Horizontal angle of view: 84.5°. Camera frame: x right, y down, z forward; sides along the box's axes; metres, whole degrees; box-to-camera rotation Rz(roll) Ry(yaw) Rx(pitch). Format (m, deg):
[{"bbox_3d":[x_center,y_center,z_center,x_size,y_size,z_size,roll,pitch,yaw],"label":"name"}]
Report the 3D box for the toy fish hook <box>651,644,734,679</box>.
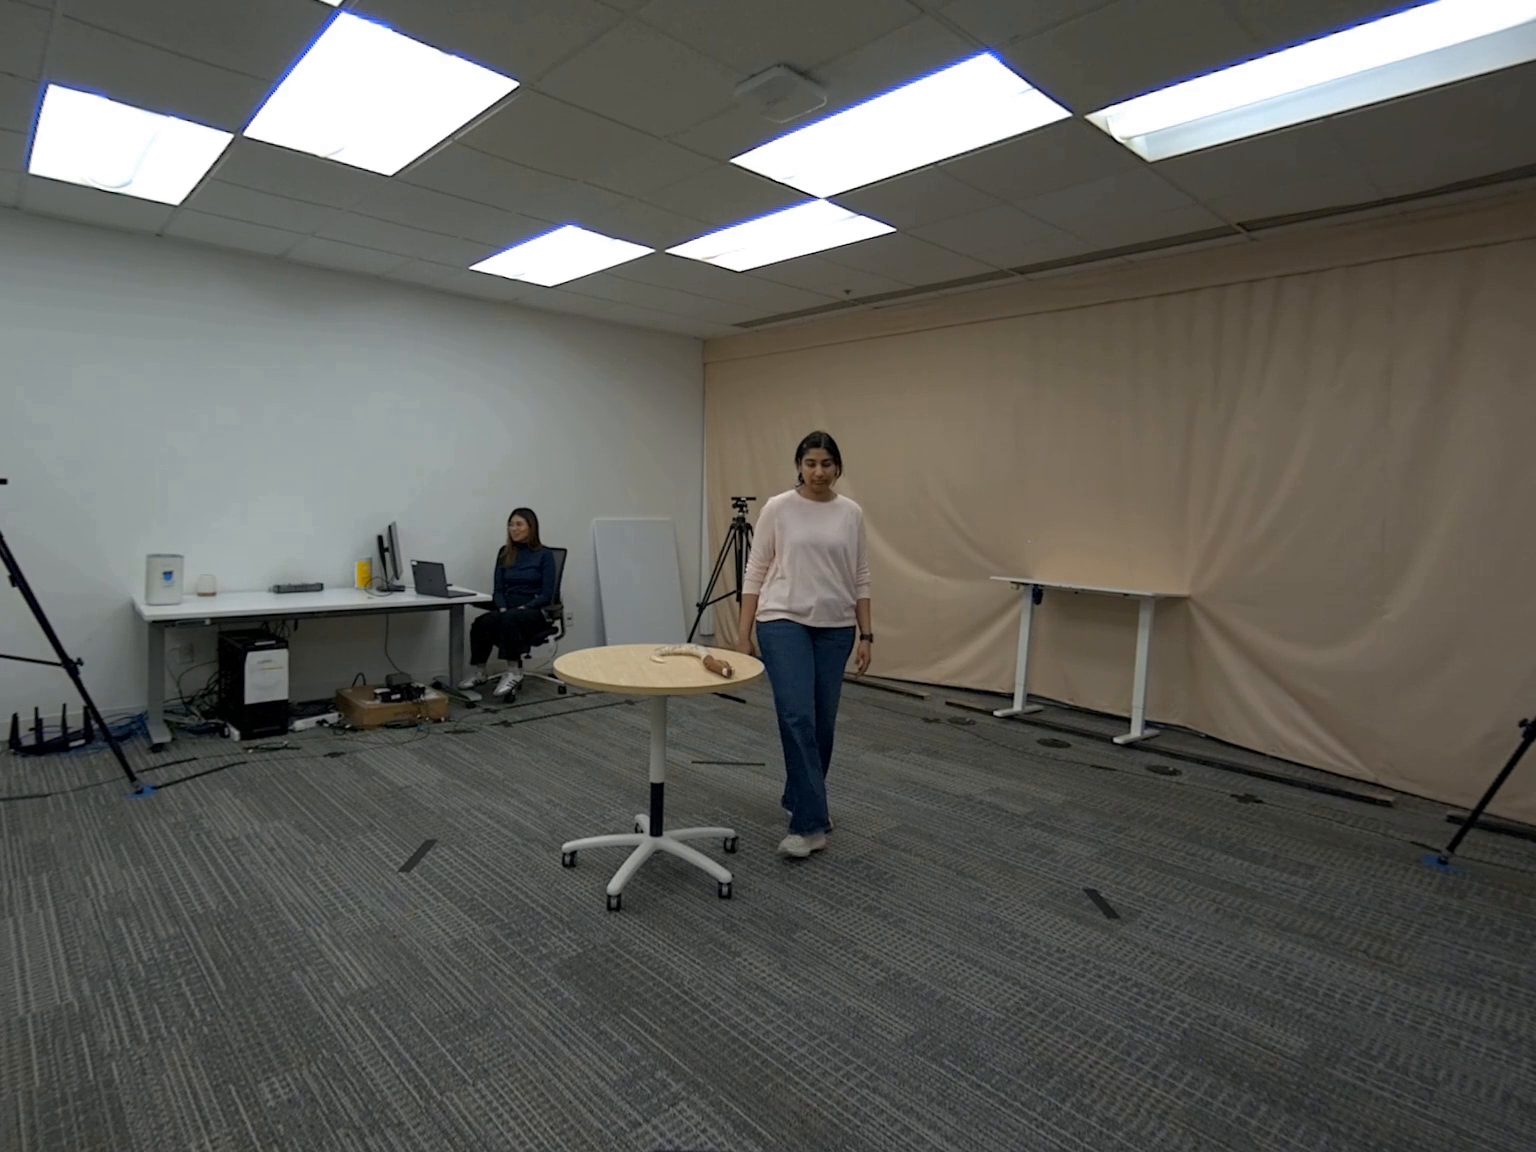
[{"bbox_3d":[-0.283,0.311,3.048,0.221,0.048,0.516,-6,7,-23],"label":"toy fish hook"}]
